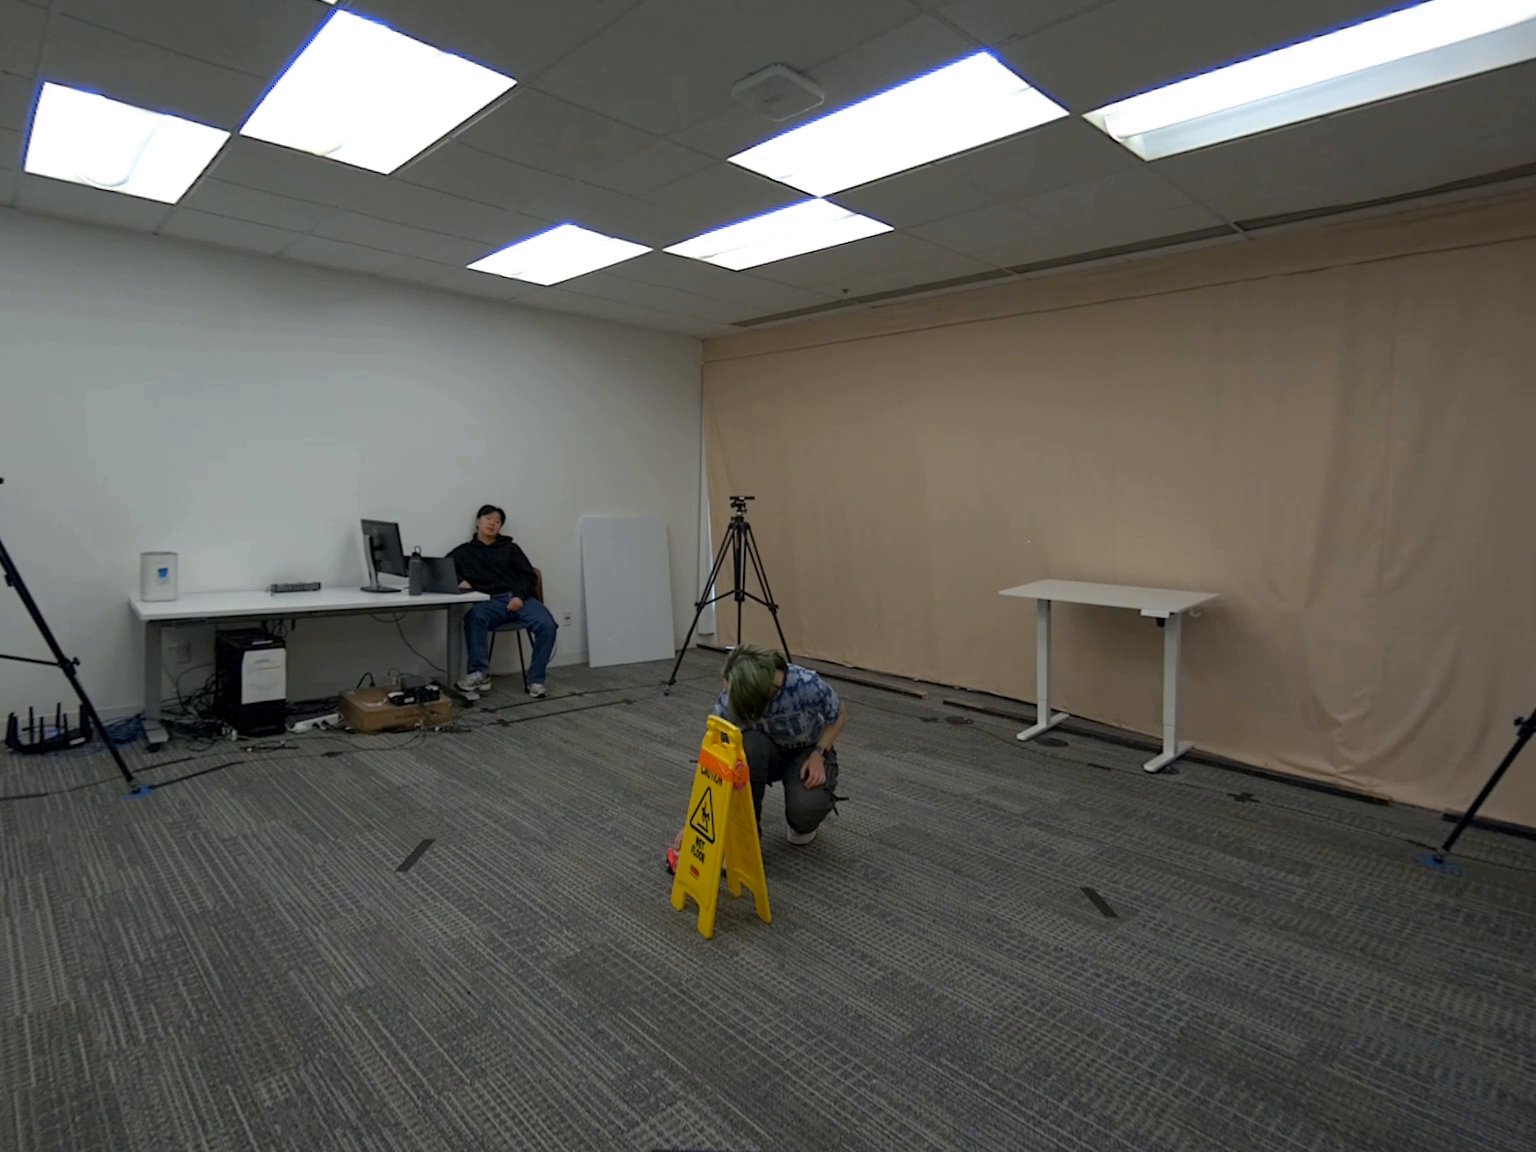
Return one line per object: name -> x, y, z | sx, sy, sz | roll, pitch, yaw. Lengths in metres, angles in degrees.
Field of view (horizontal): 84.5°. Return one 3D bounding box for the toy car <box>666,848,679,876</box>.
toy car -> -0.309, 1.079, 3.082 | 0.128, 0.082, 0.261 | 0, 17, -25
